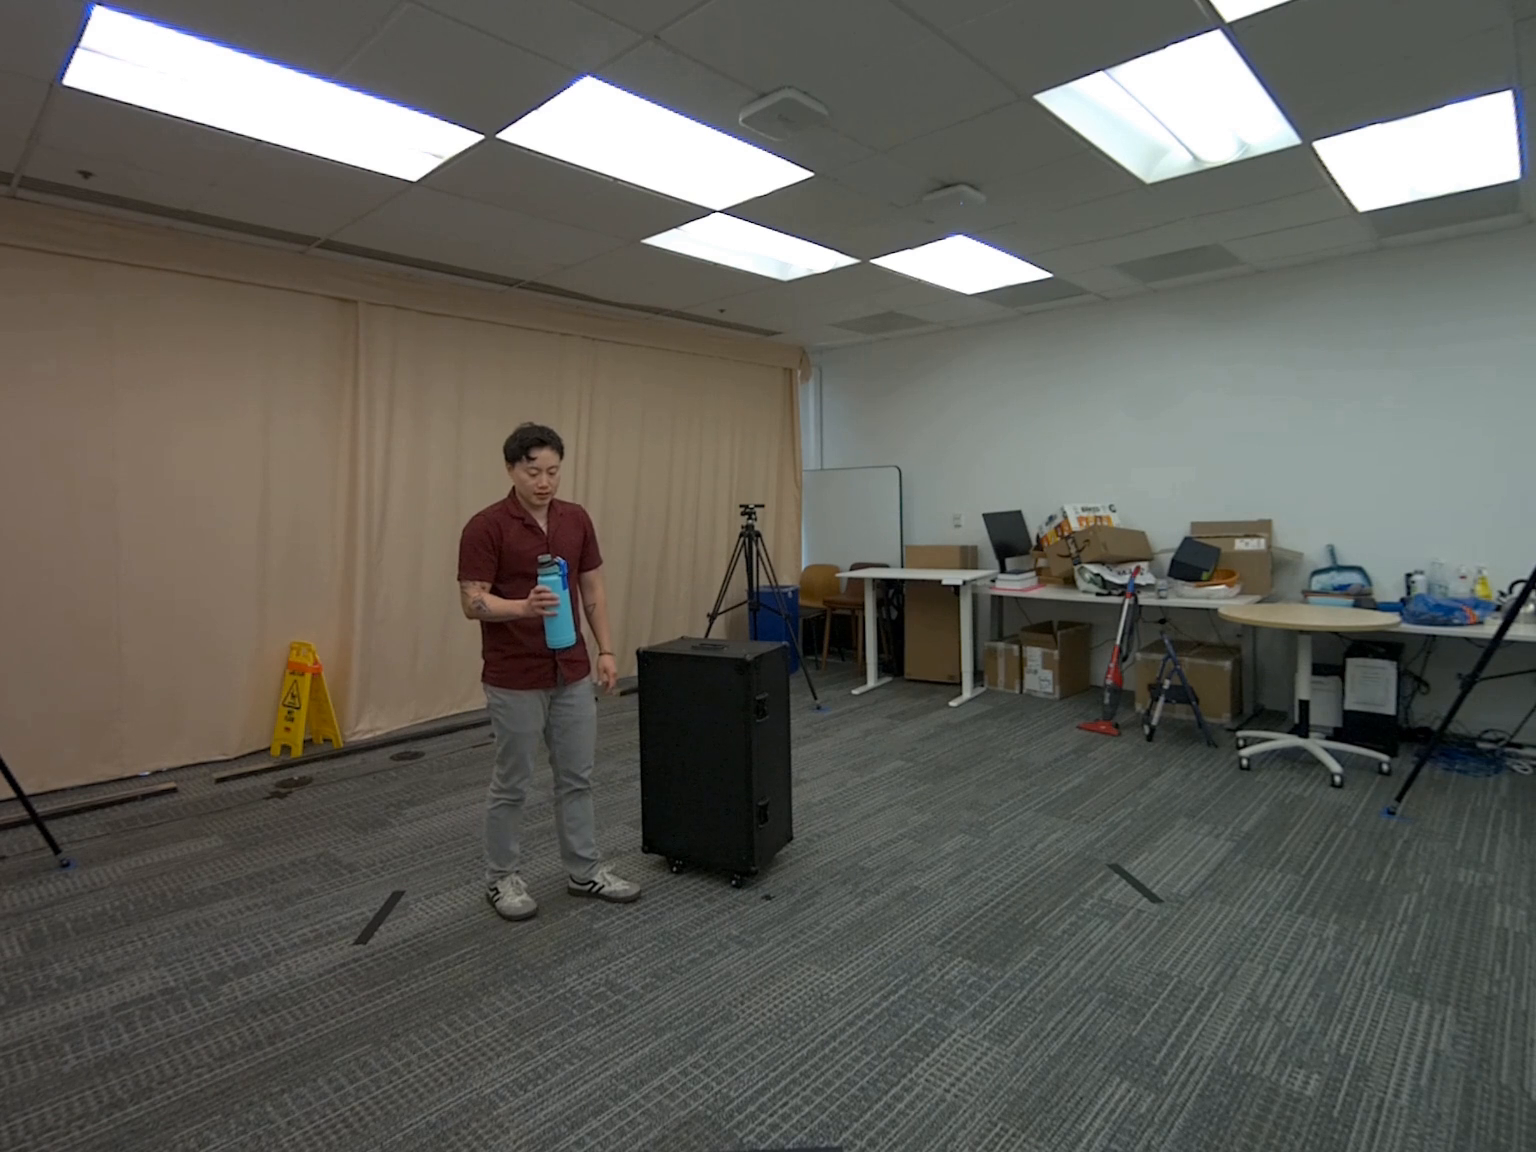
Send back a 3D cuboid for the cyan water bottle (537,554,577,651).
[{"bbox_3d":[-0.656,0.075,2.595,0.092,0.282,0.093,-1,9,-2],"label":"cyan water bottle"}]
